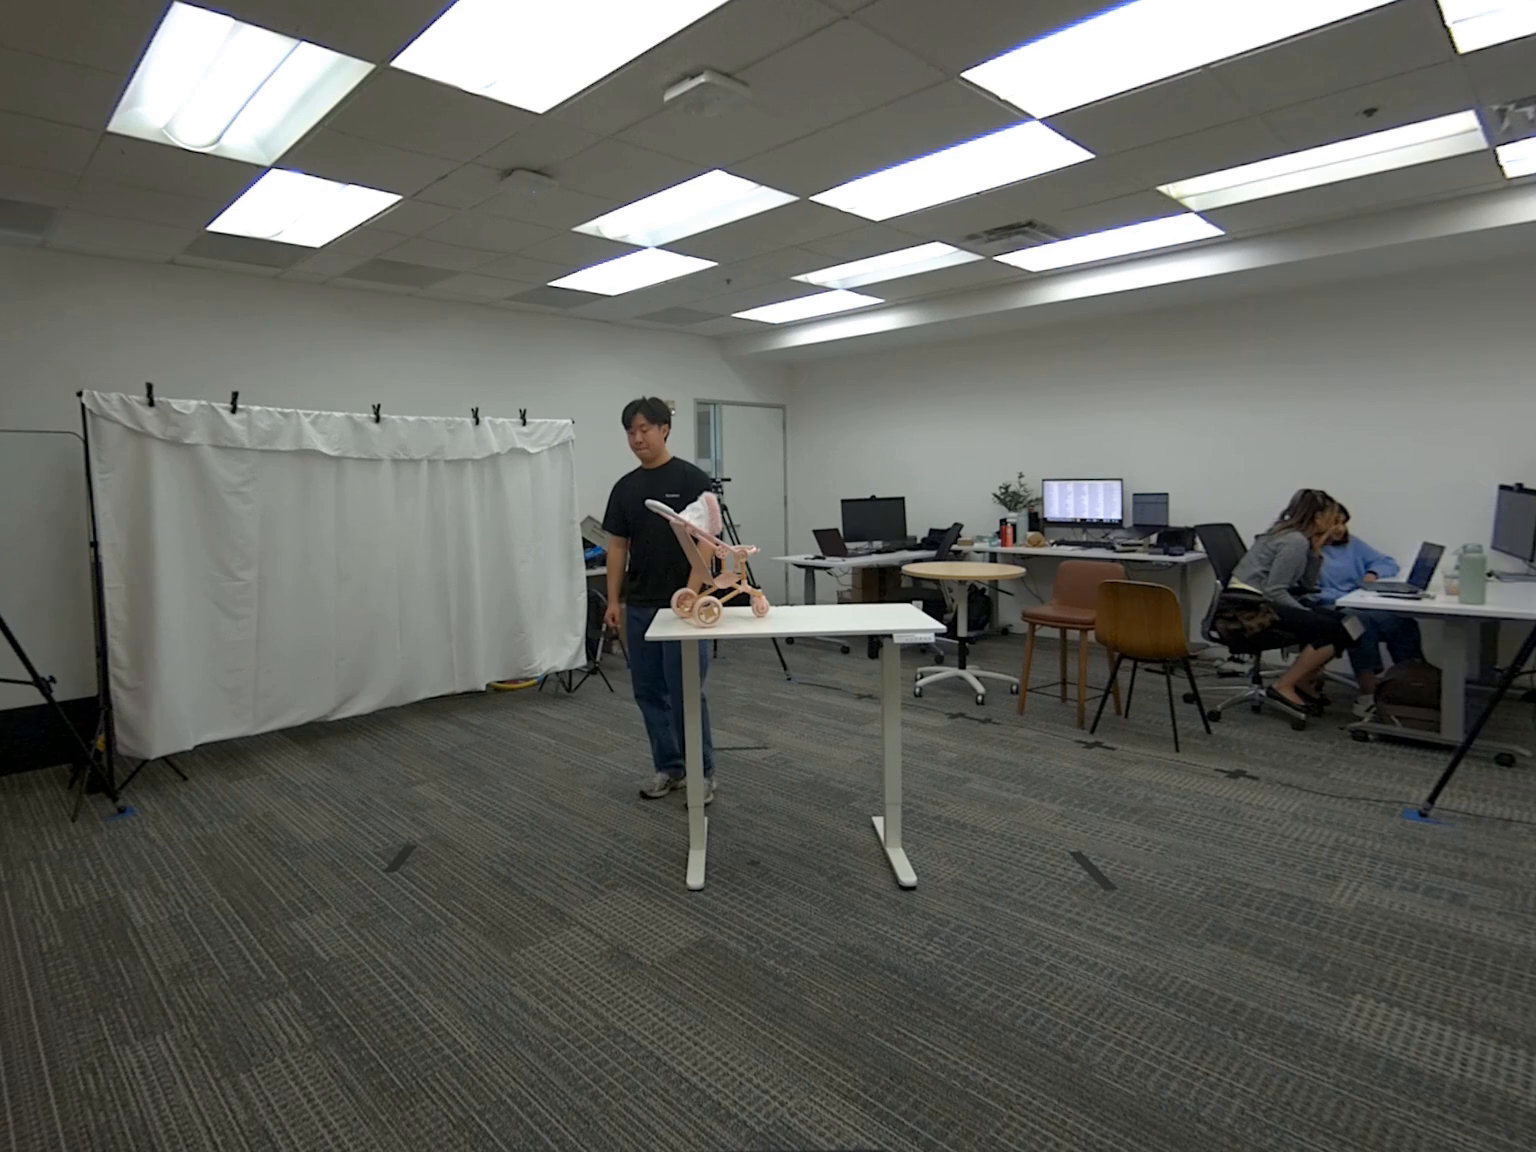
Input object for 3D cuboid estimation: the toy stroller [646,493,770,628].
[{"bbox_3d":[-0.196,-0.060,3.089,0.338,0.530,0.287,-16,9,-16],"label":"toy stroller"}]
